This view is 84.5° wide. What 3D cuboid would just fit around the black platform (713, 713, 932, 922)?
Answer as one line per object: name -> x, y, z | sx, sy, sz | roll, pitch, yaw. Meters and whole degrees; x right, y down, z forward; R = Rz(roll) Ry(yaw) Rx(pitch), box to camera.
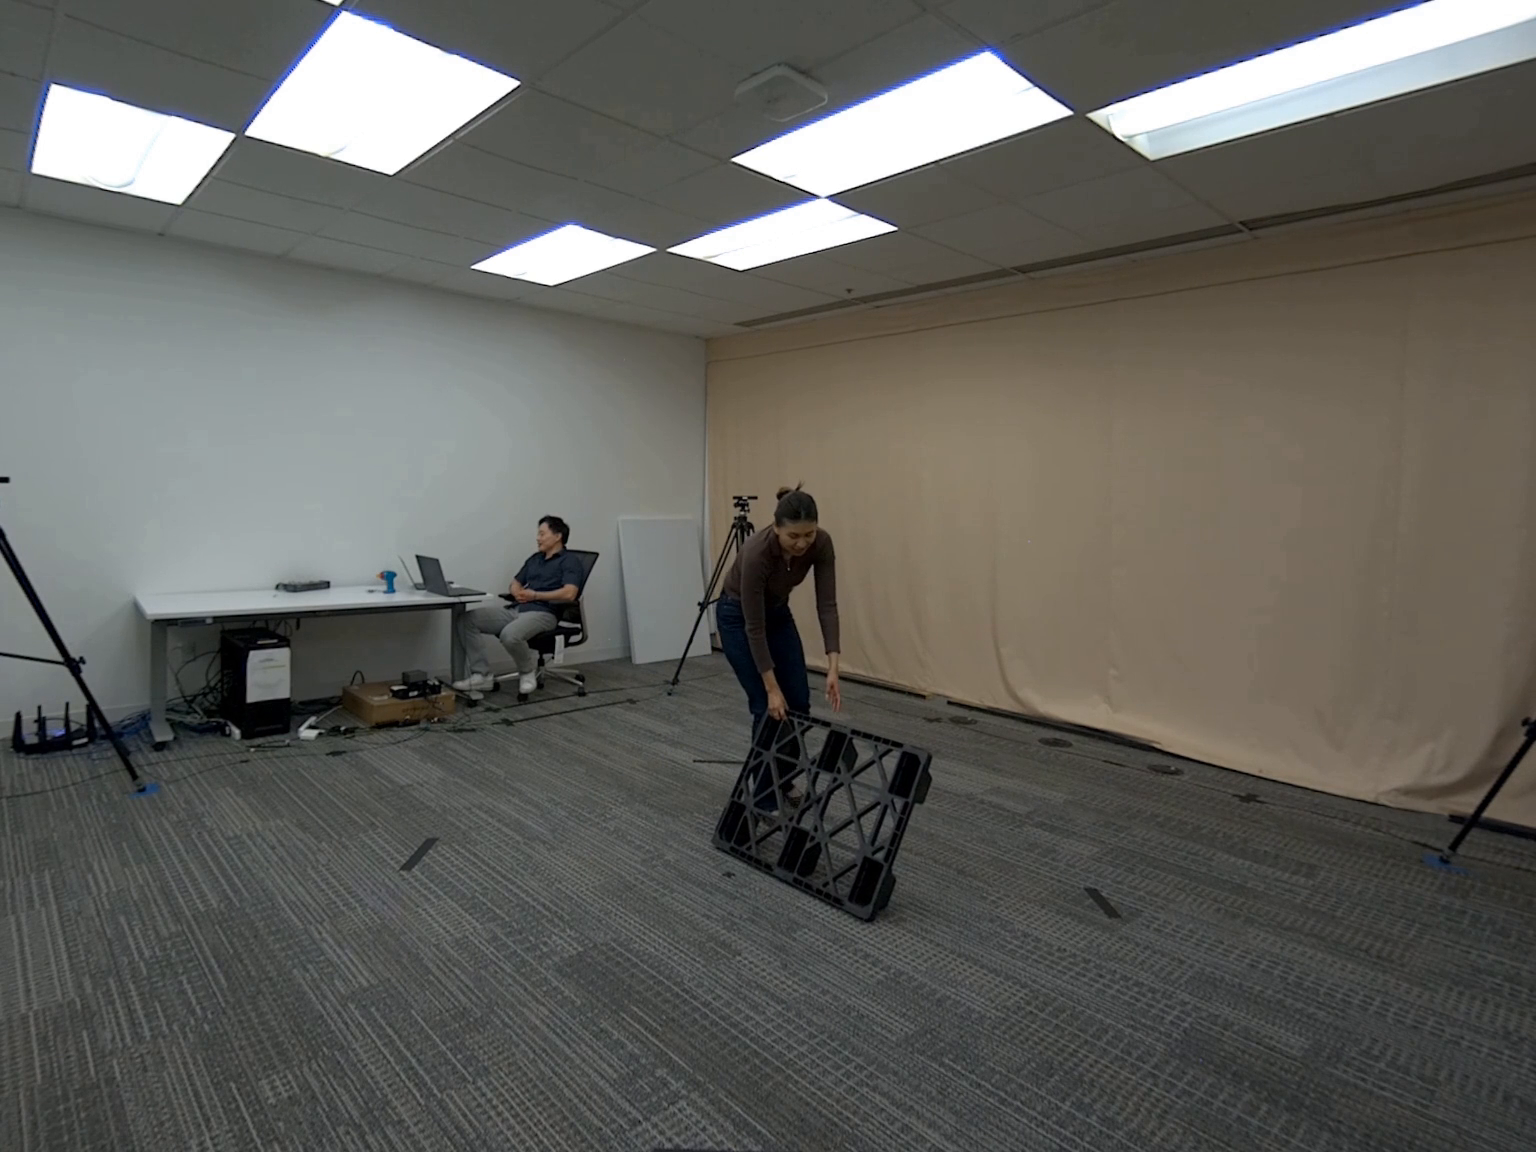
black platform -> 0.199, 0.870, 3.167 | 0.826, 0.608, 0.139 | 6, -24, 46
